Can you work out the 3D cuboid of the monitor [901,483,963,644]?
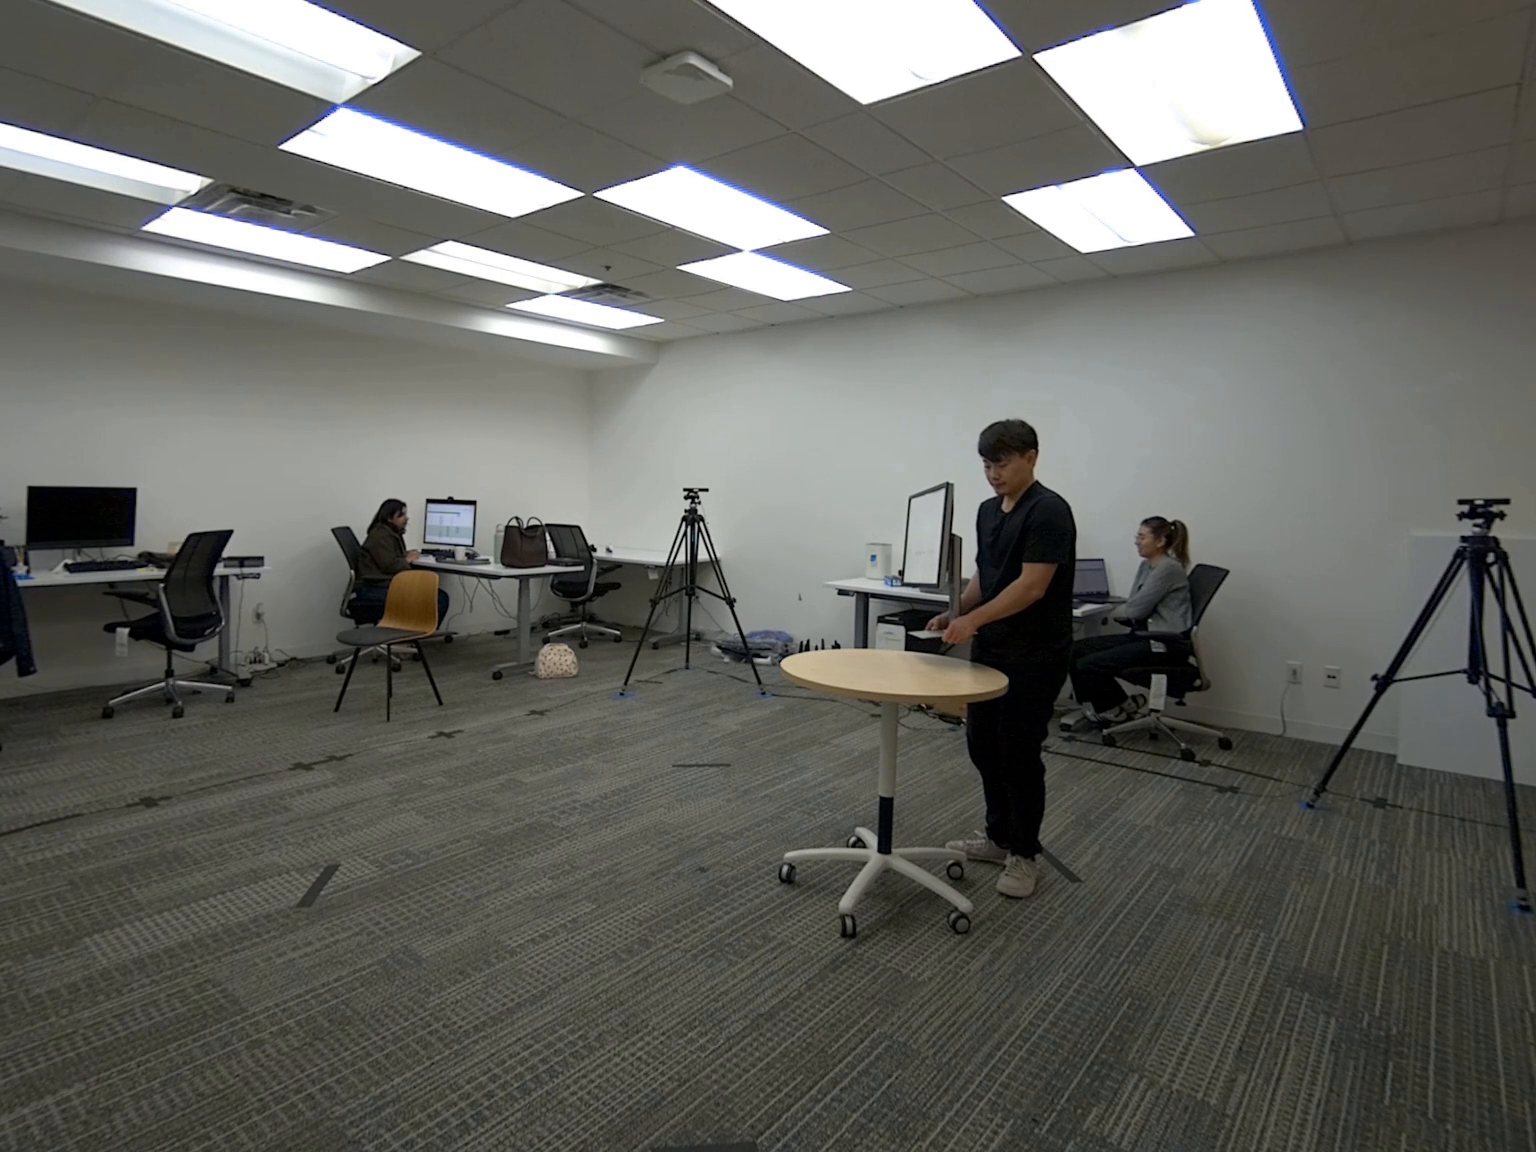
[{"bbox_3d":[0.612,-0.056,3.148,0.186,0.524,0.540,-5,-1,-5],"label":"monitor"}]
